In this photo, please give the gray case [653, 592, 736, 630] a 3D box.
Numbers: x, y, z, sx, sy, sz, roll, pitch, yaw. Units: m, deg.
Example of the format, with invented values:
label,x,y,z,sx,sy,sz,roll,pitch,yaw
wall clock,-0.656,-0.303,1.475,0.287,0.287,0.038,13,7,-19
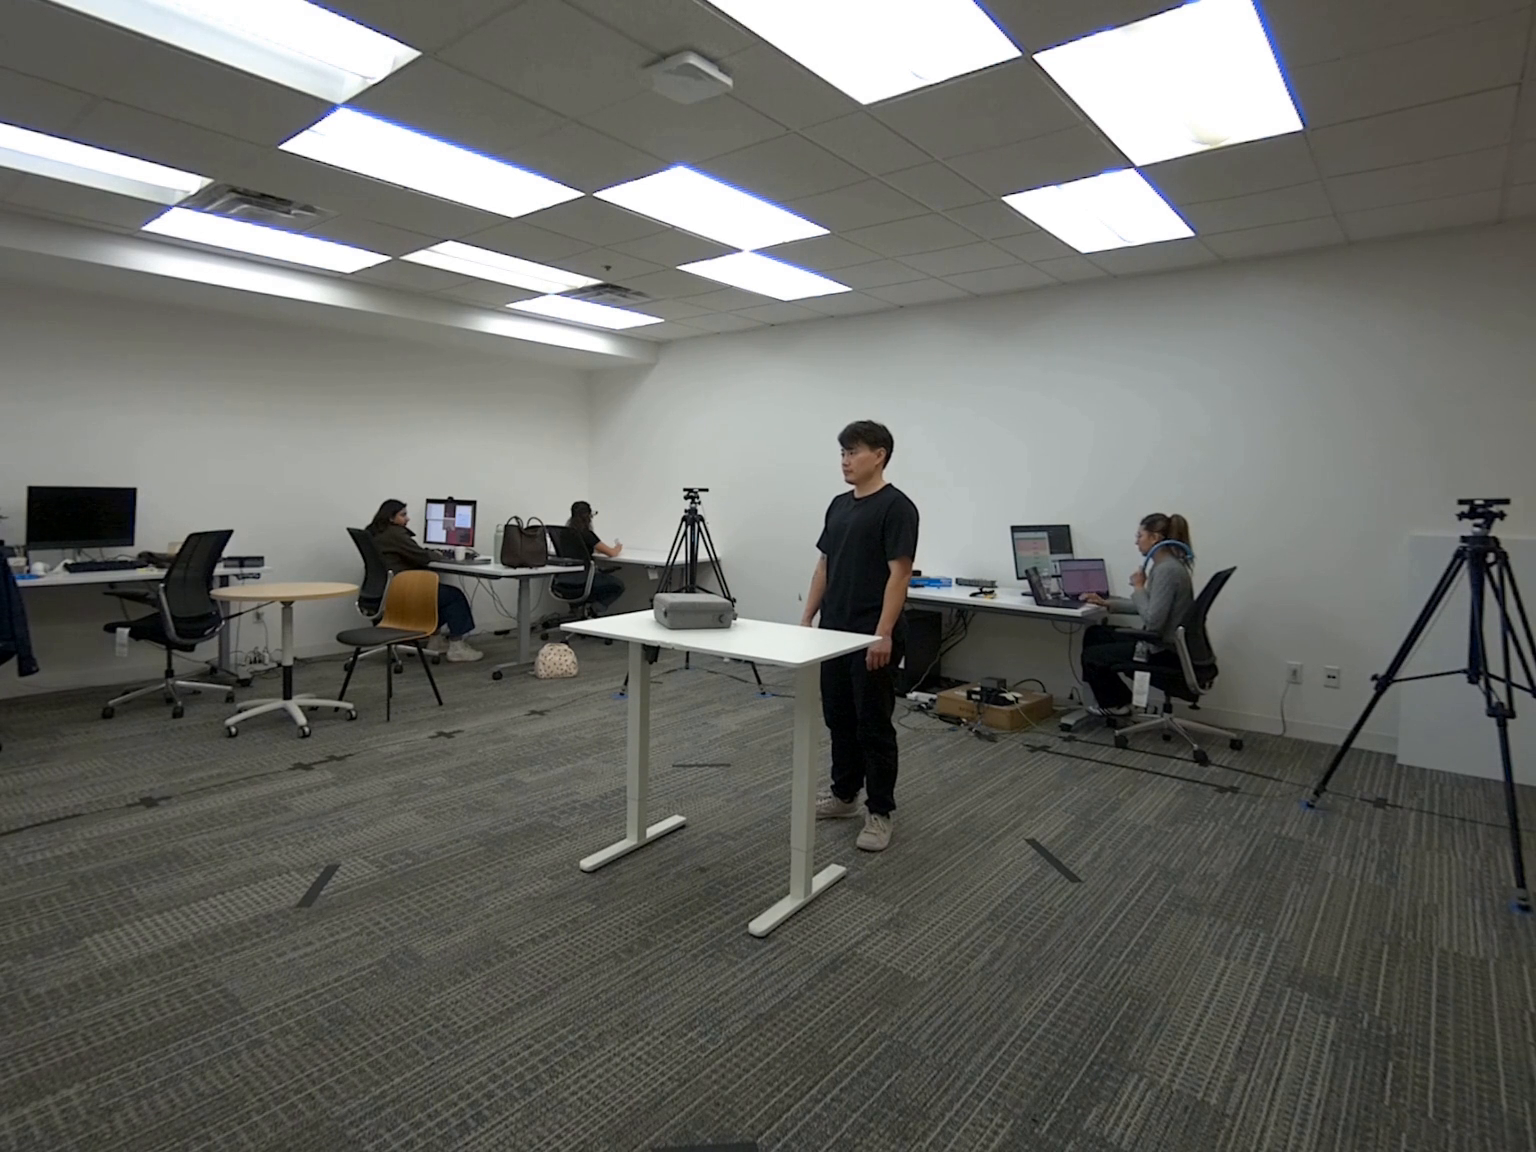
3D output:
label,x,y,z,sx,sy,sz,roll,pitch,yaw
gray case,-0.288,0.126,3.180,0.256,0.104,0.263,0,4,-19
